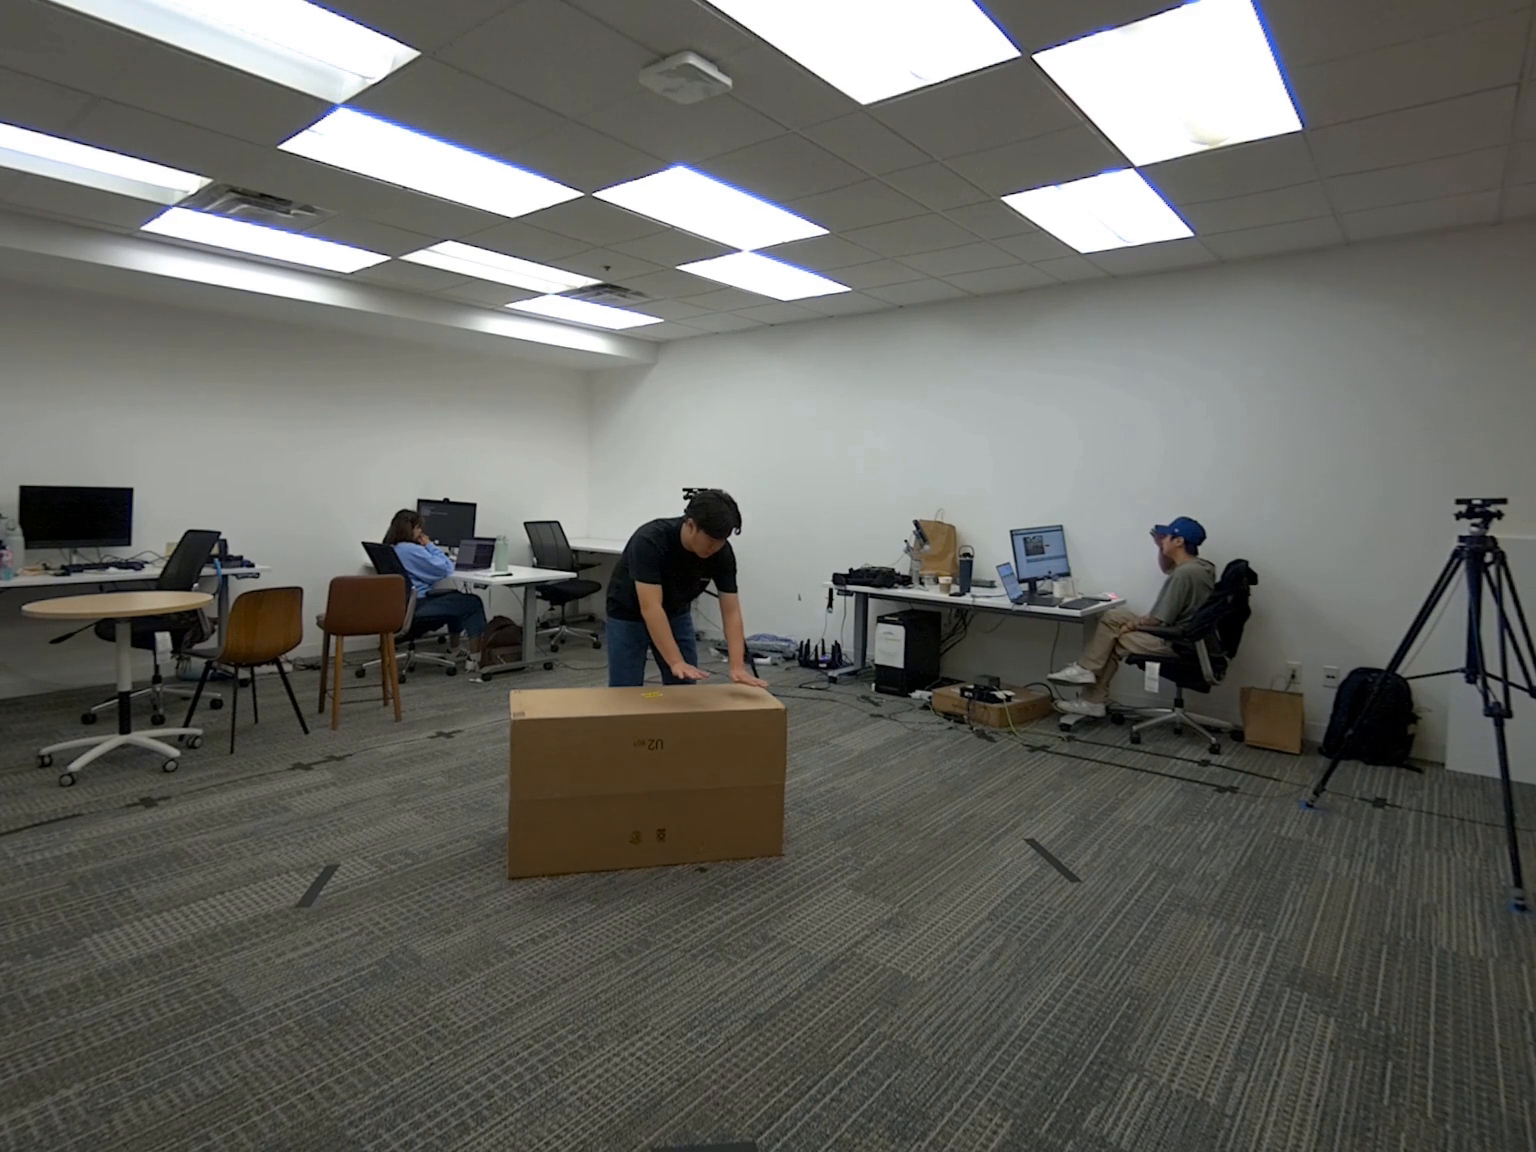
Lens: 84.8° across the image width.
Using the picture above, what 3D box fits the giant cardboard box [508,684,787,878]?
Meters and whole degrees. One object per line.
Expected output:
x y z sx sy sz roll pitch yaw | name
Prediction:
-0.492 0.755 3.304 1.011 0.583 0.455 0 3 -15 | giant cardboard box
